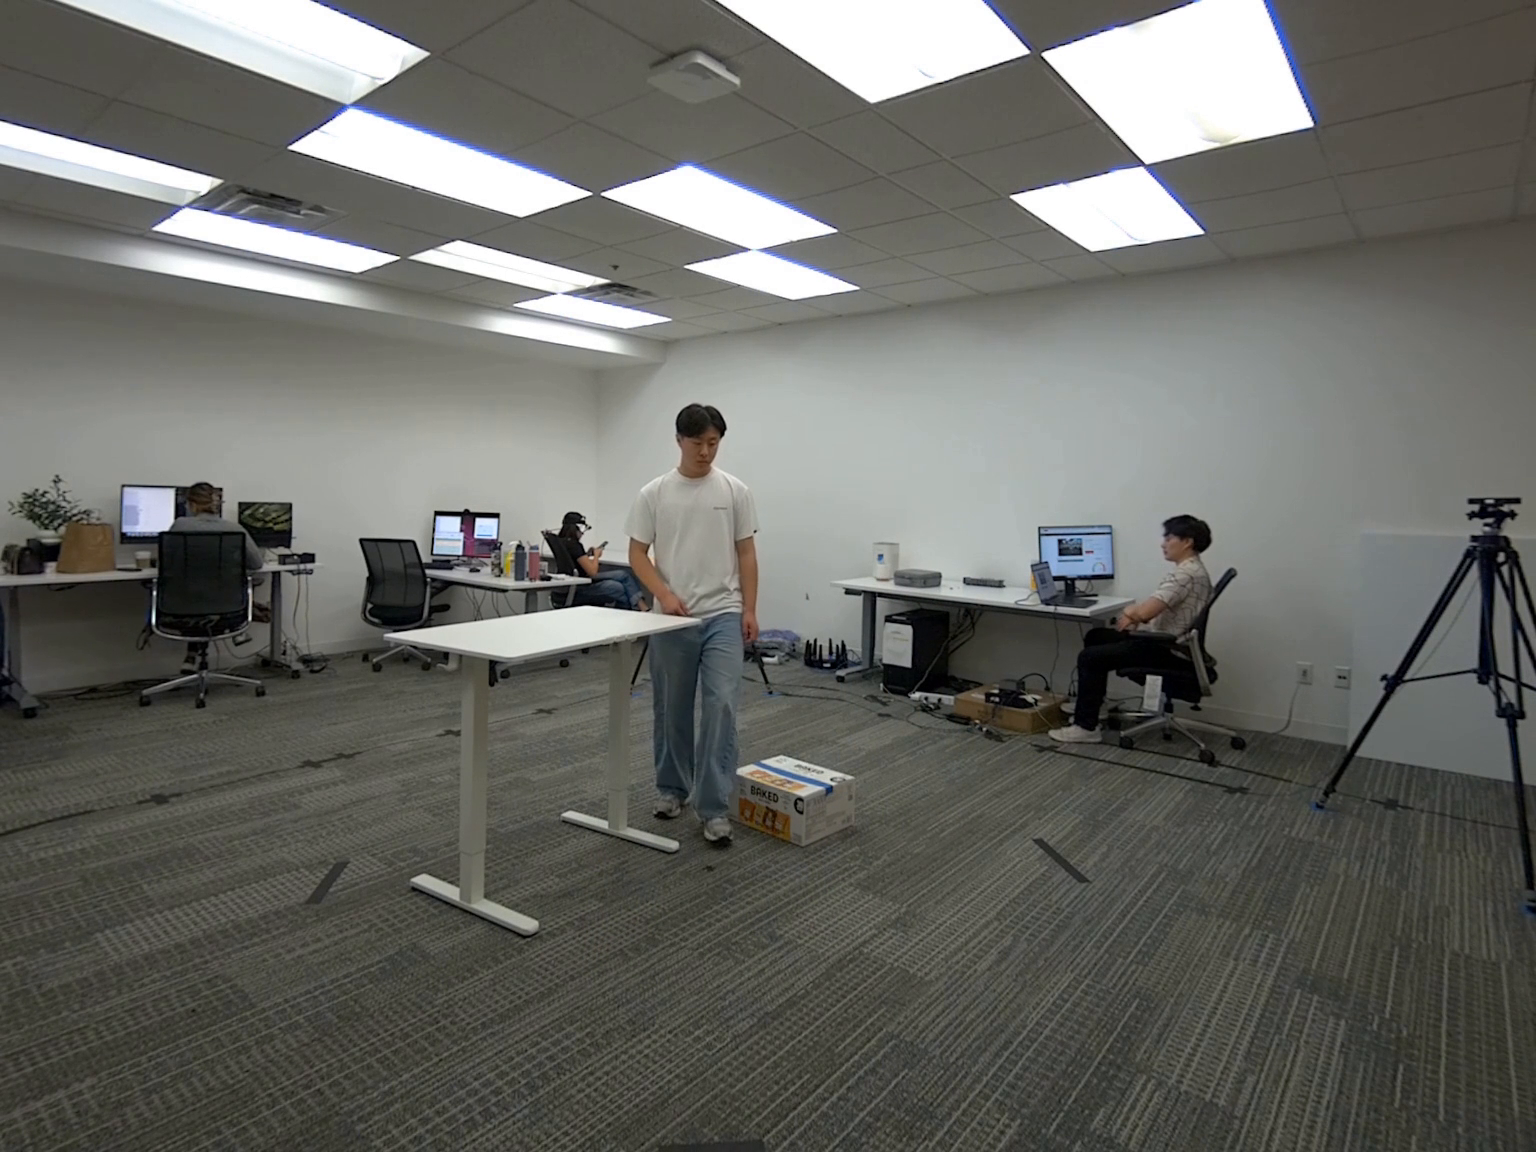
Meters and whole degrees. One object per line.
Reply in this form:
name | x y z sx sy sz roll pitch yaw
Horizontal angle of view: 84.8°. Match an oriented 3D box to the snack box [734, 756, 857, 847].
snack box | 0.089 0.930 3.555 0.419 0.205 0.330 6 7 42
